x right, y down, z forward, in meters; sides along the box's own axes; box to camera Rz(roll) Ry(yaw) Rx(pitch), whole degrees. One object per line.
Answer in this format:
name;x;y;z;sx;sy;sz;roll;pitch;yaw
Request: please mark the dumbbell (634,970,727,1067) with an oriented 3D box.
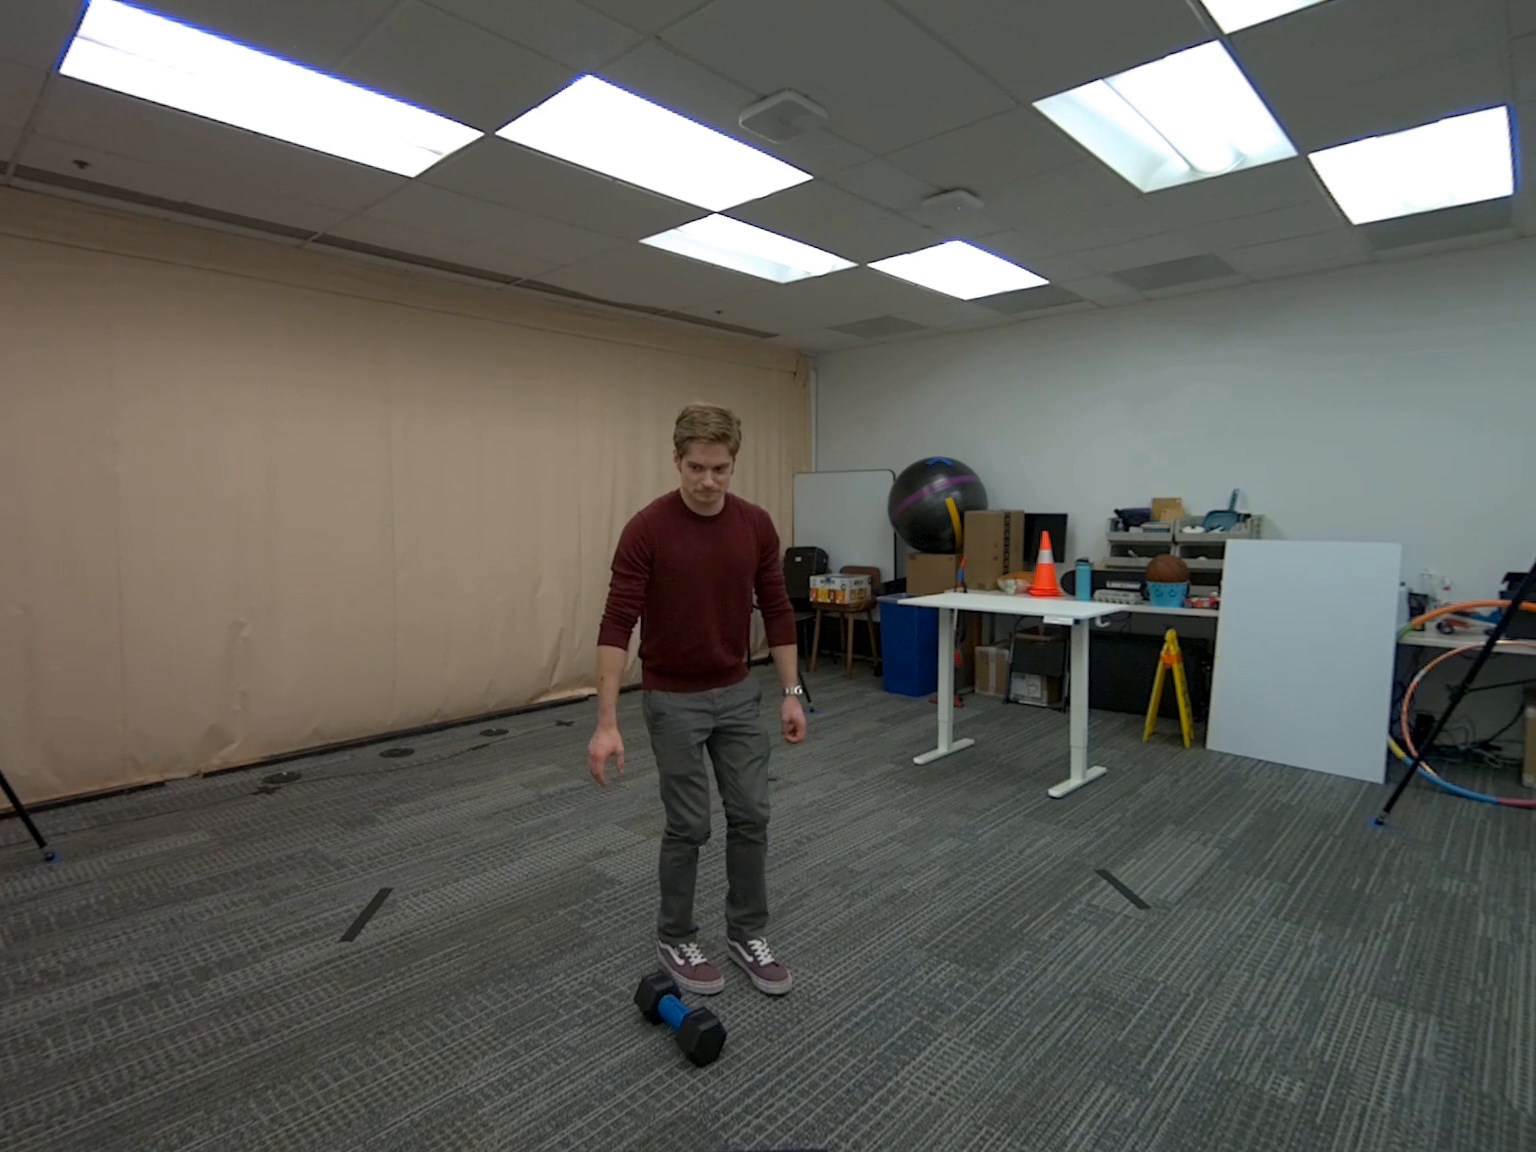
dumbbell;-0.236;1.158;2.203;0.105;0.123;0.303;32;-16;-34
